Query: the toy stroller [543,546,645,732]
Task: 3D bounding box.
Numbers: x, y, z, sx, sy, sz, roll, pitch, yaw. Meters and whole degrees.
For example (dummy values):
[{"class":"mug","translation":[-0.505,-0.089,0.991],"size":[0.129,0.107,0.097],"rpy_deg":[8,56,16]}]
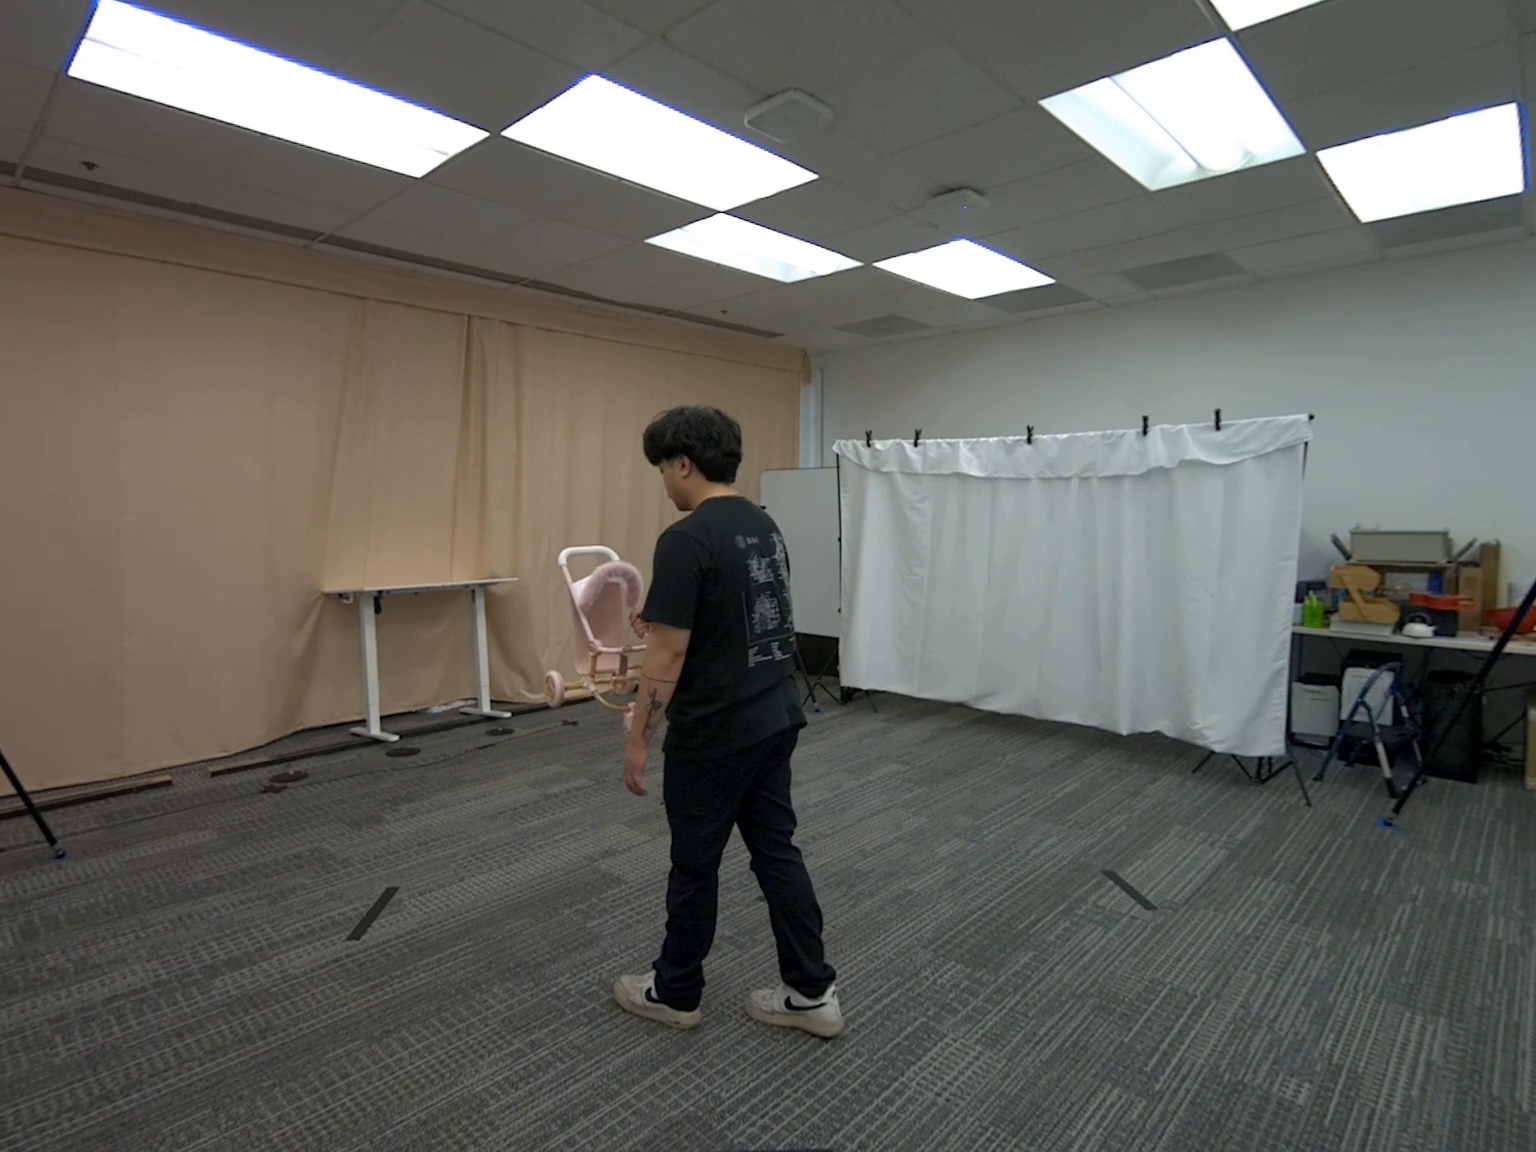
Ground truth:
[{"class":"toy stroller","translation":[-0.477,0.194,2.511],"size":[0.273,0.534,0.352],"rpy_deg":[-1,4,-36]}]
